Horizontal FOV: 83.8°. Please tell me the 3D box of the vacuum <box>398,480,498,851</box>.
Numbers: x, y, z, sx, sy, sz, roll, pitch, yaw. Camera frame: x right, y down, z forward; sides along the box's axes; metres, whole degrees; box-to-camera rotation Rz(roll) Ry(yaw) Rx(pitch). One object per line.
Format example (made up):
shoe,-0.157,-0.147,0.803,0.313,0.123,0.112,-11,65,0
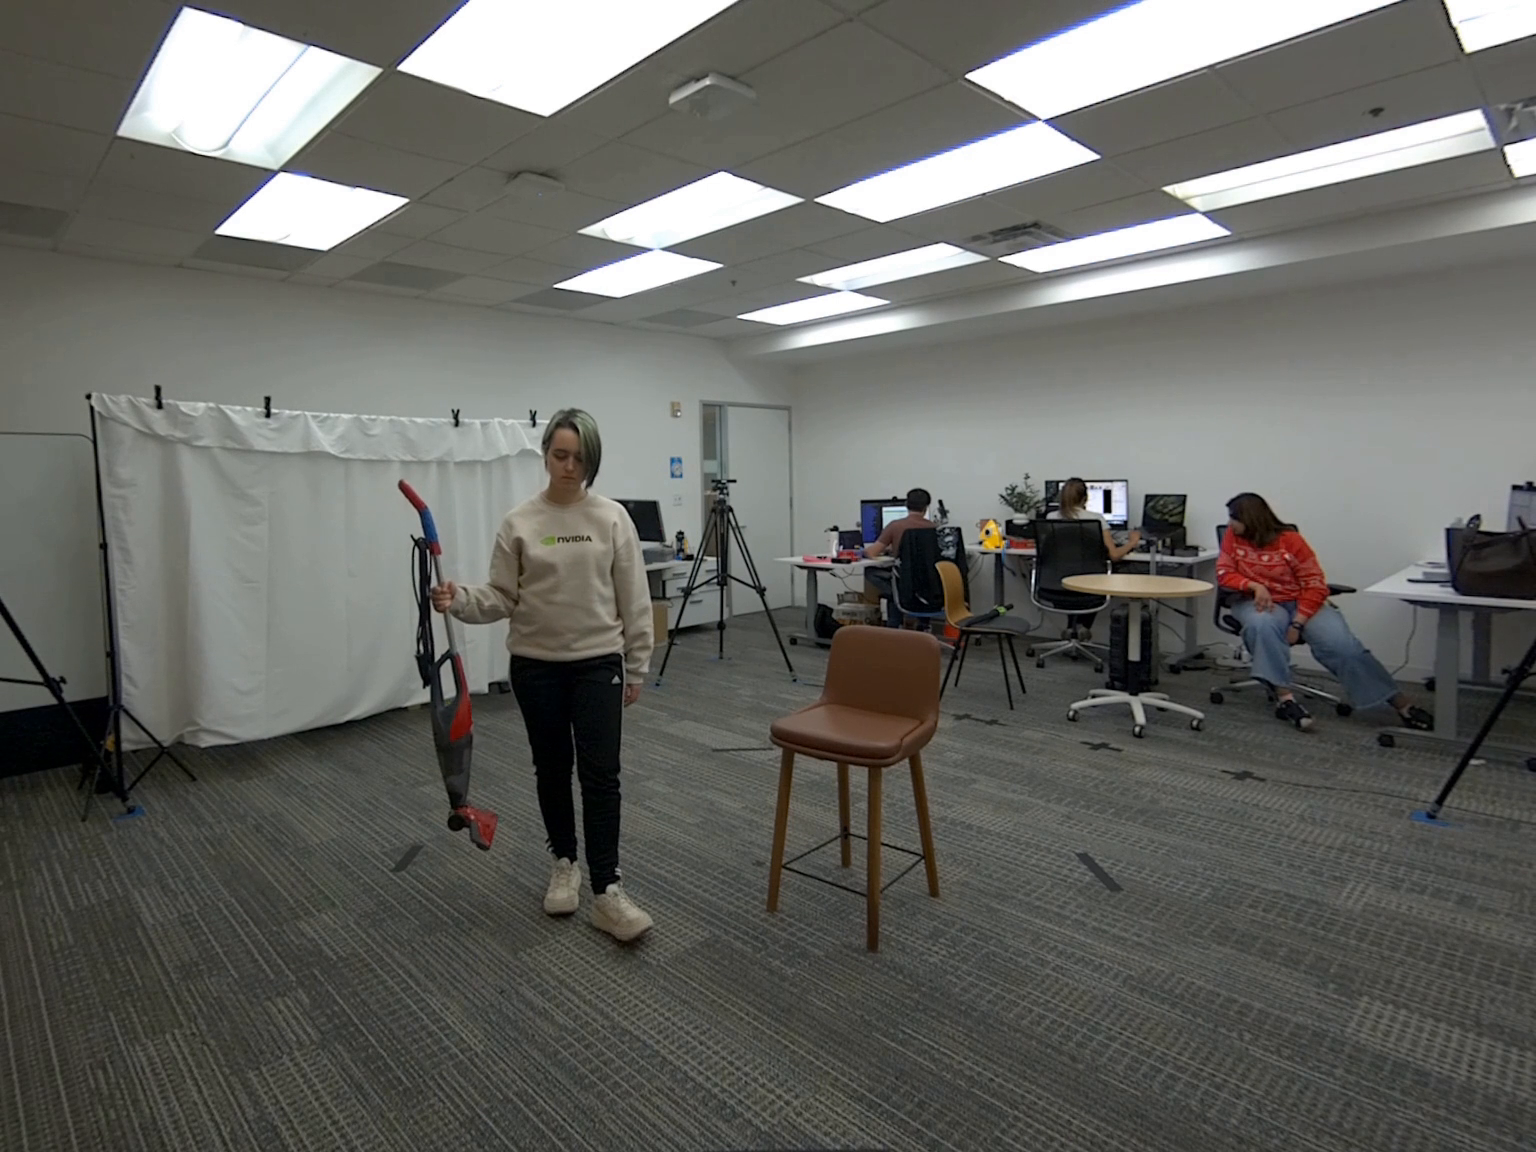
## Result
vacuum,-0.990,0.237,2.545,0.142,1.045,0.257,-11,4,-19
